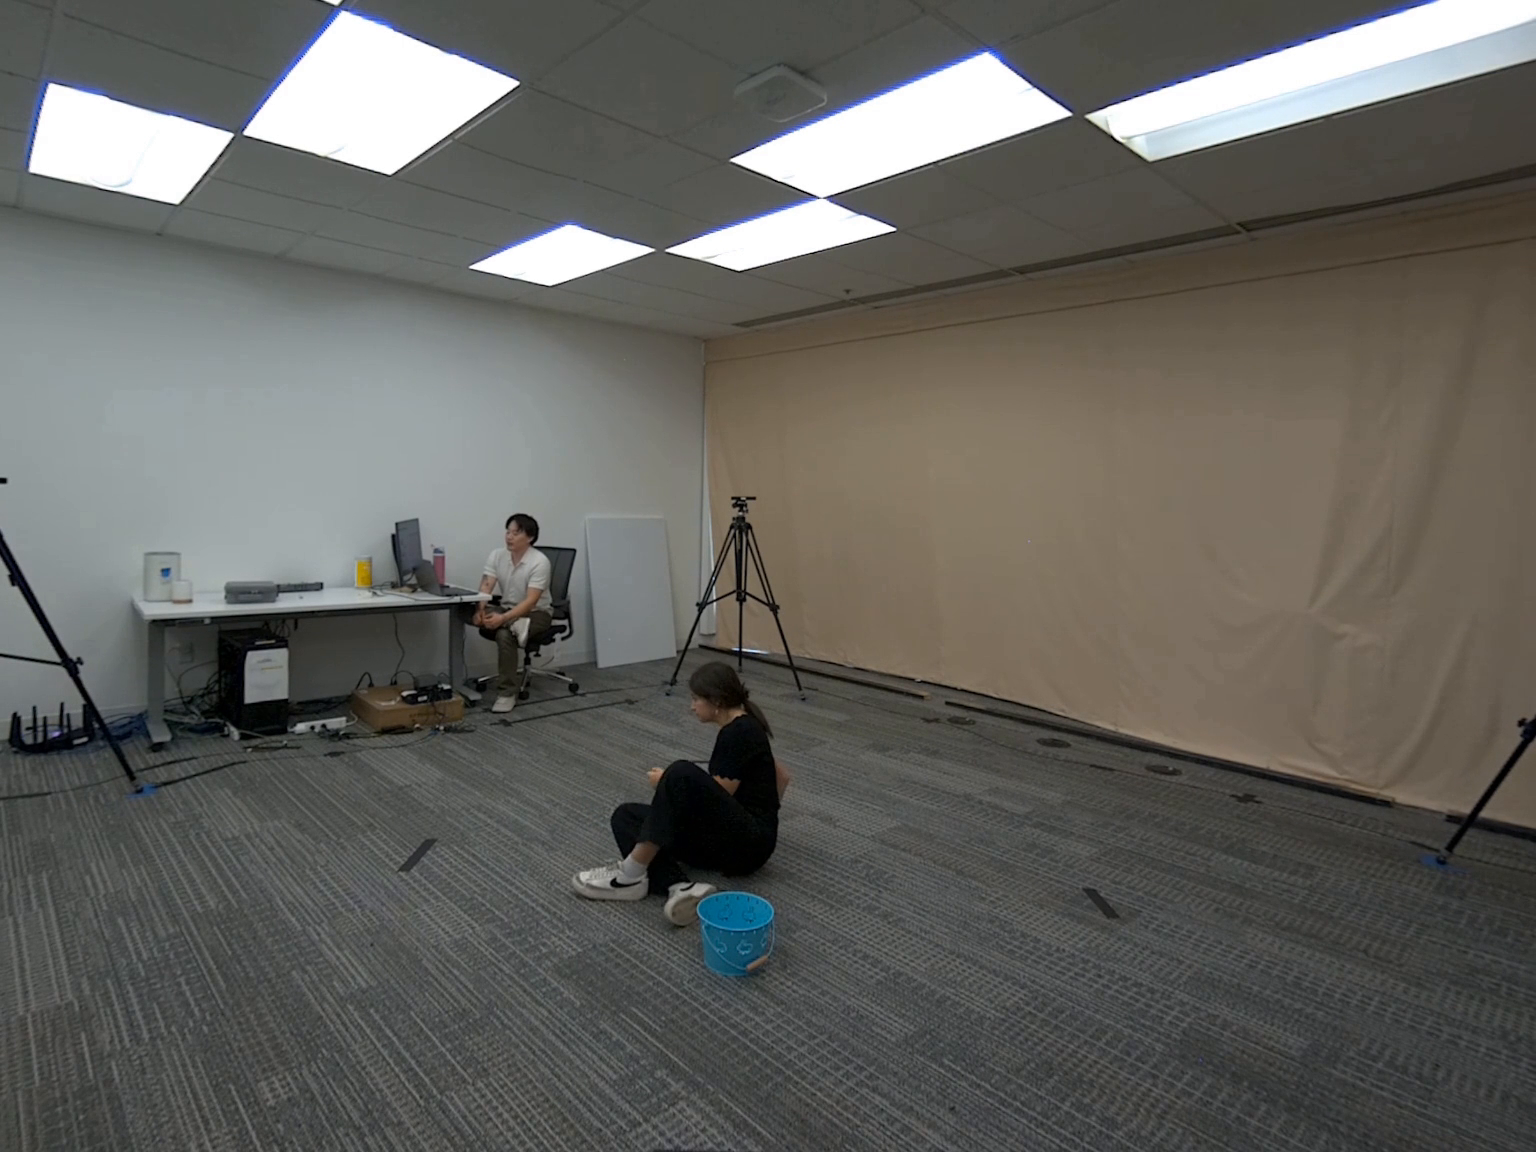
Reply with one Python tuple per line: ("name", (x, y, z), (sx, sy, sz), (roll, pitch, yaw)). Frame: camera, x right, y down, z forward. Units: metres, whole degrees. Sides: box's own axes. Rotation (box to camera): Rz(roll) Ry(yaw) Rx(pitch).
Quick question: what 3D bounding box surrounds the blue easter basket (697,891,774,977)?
("blue easter basket", (-0.113, 1.082, 2.528), (0.243, 0.155, 0.244), (2, 4, -1))
